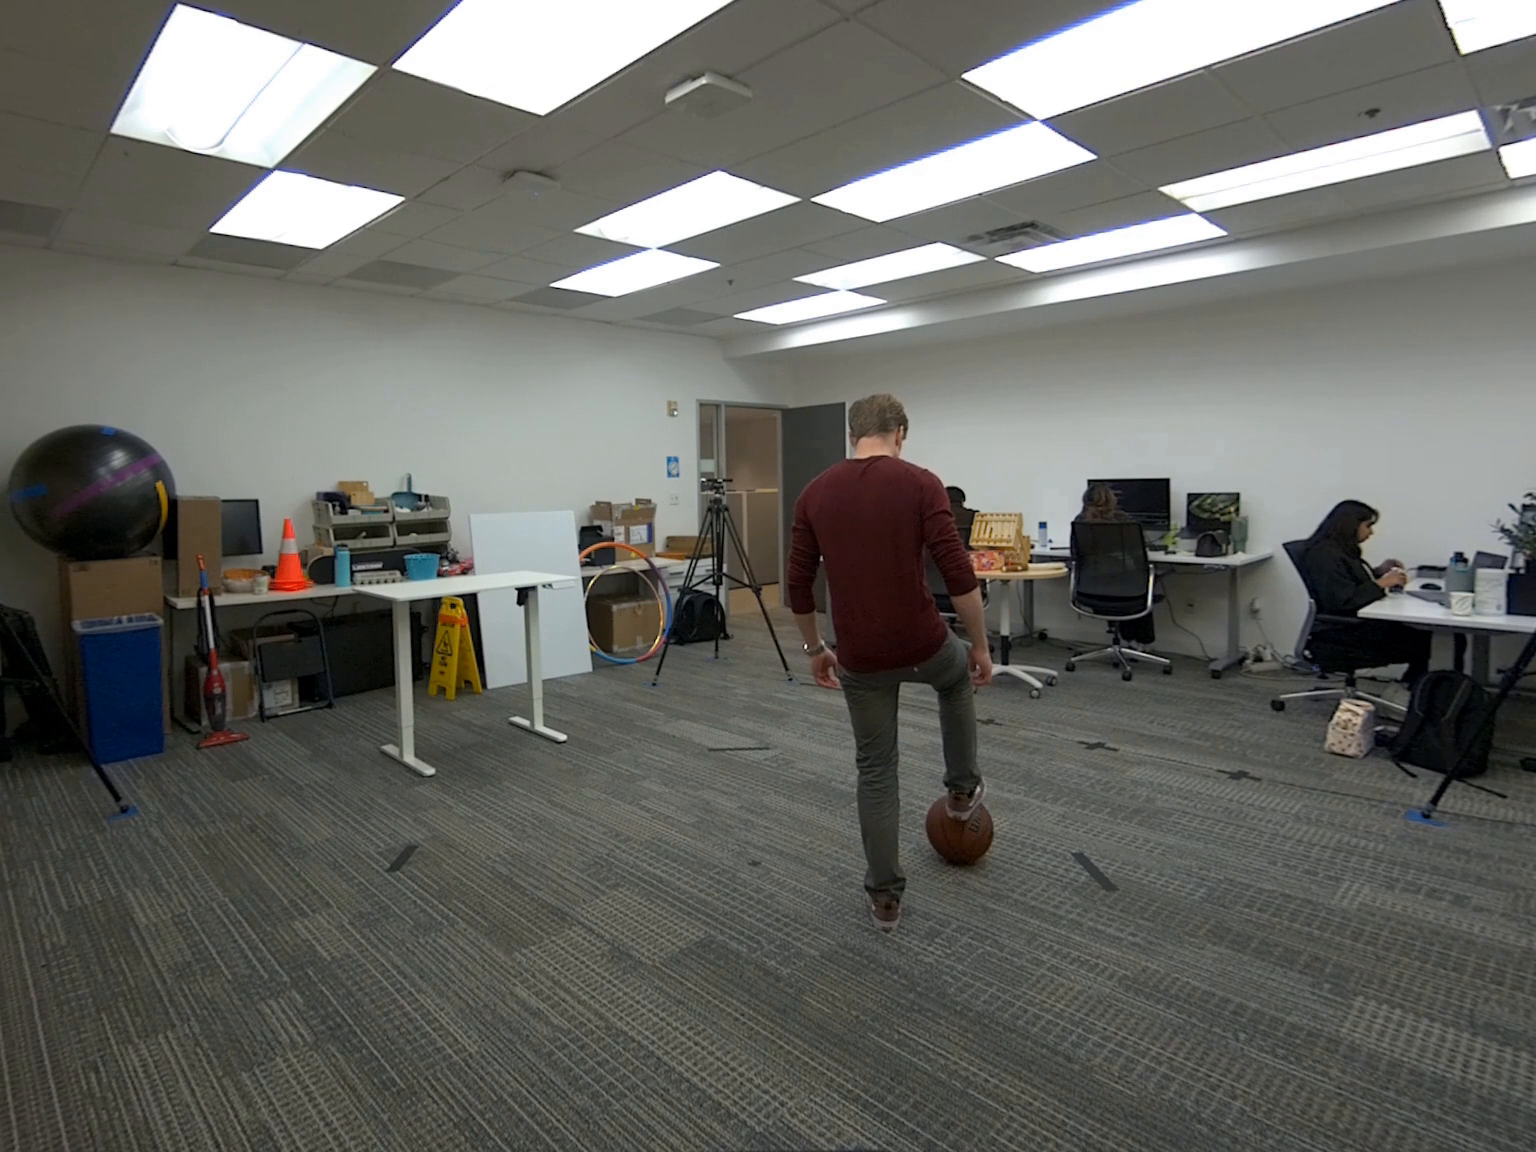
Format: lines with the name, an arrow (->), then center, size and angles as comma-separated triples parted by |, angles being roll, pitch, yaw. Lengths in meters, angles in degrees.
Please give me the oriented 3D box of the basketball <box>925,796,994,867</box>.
basketball -> 0.698, 0.915, 3.103 | 0.236, 0.235, 0.237 | -1, 5, -2
